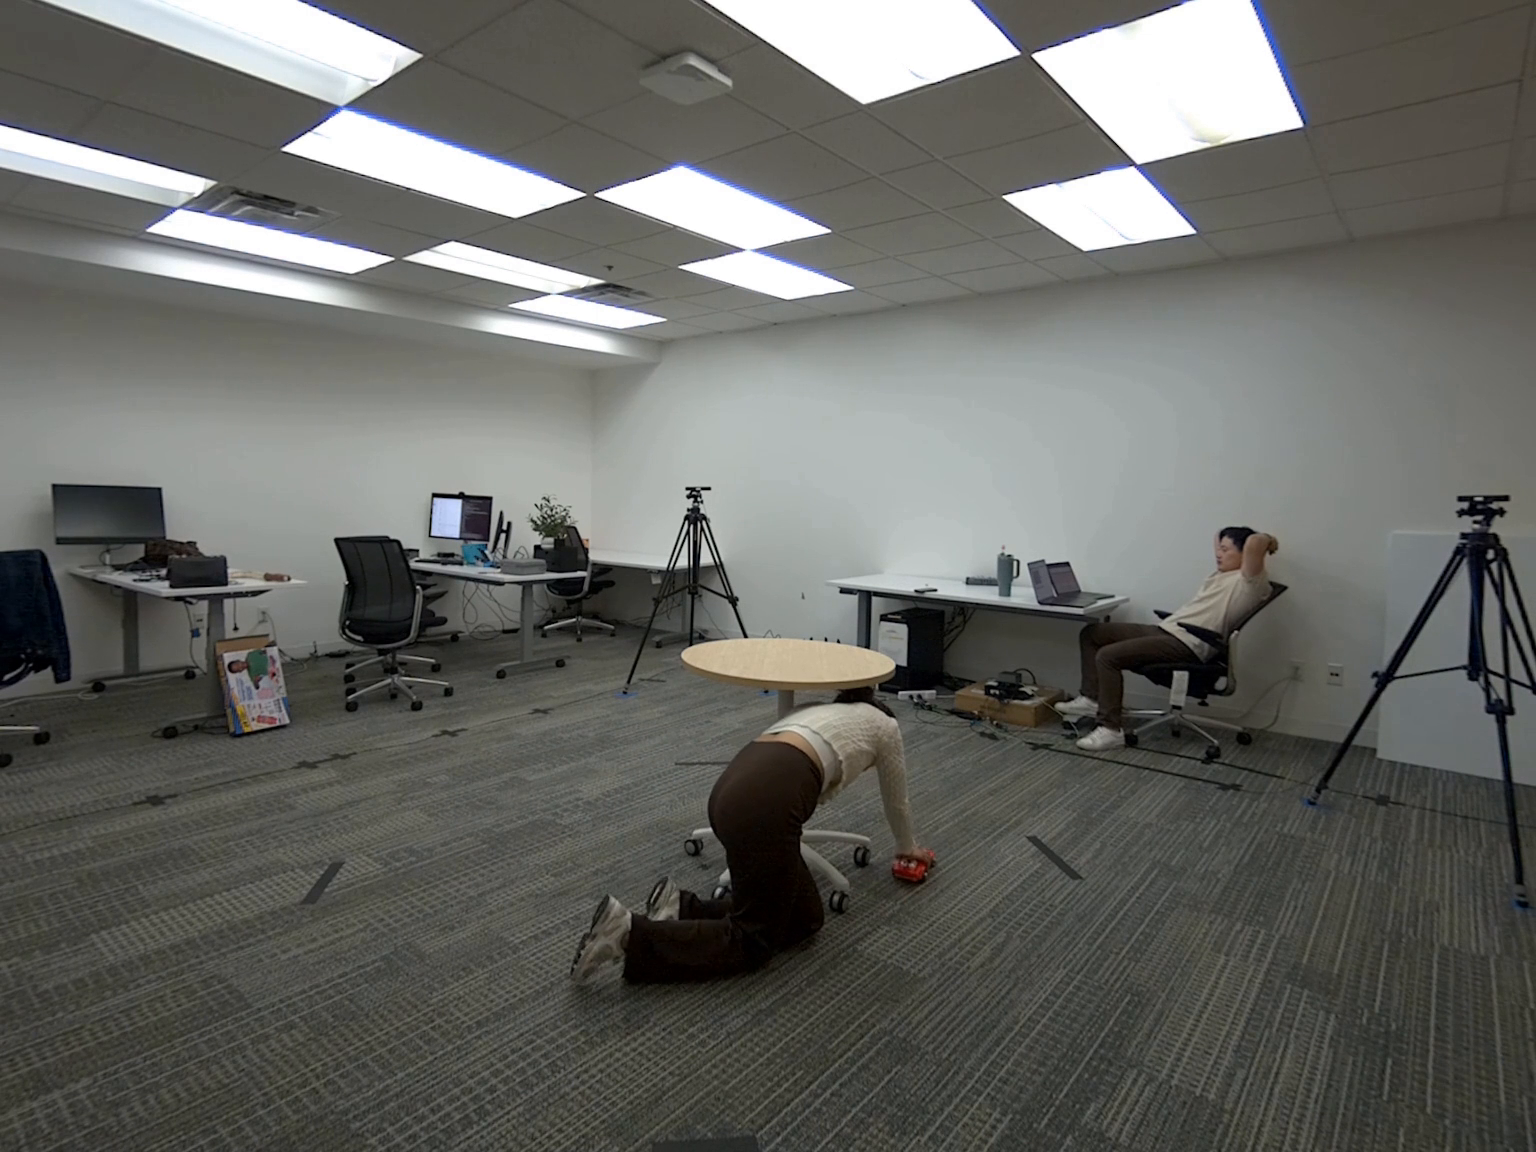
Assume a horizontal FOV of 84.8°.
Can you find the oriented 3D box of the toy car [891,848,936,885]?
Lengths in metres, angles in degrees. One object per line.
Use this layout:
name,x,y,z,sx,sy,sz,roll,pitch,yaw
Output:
toy car,0.522,1.053,3.107,0.134,0.083,0.247,5,-4,24
